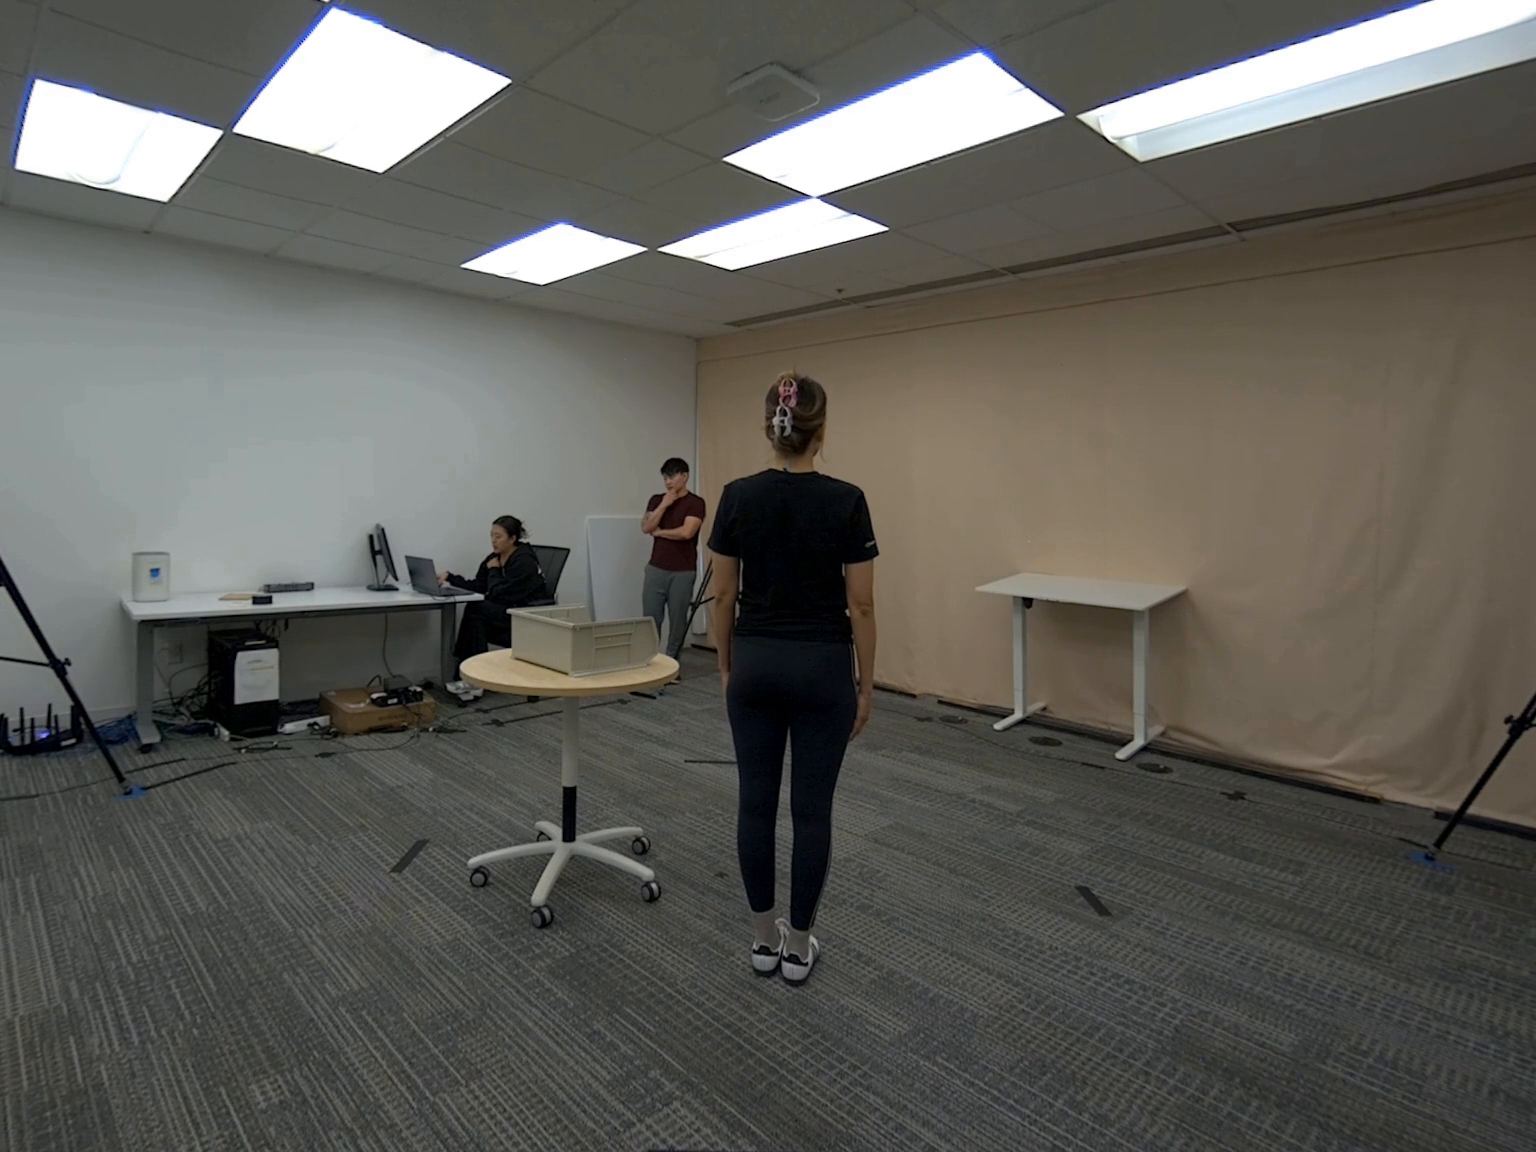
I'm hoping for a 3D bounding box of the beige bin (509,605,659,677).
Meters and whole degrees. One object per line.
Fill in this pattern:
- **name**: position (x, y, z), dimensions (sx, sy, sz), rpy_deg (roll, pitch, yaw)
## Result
- **beige bin**: position (-0.675, 0.225, 3.045), dimensions (0.433, 0.188, 0.369), rpy_deg (8, 9, 44)
